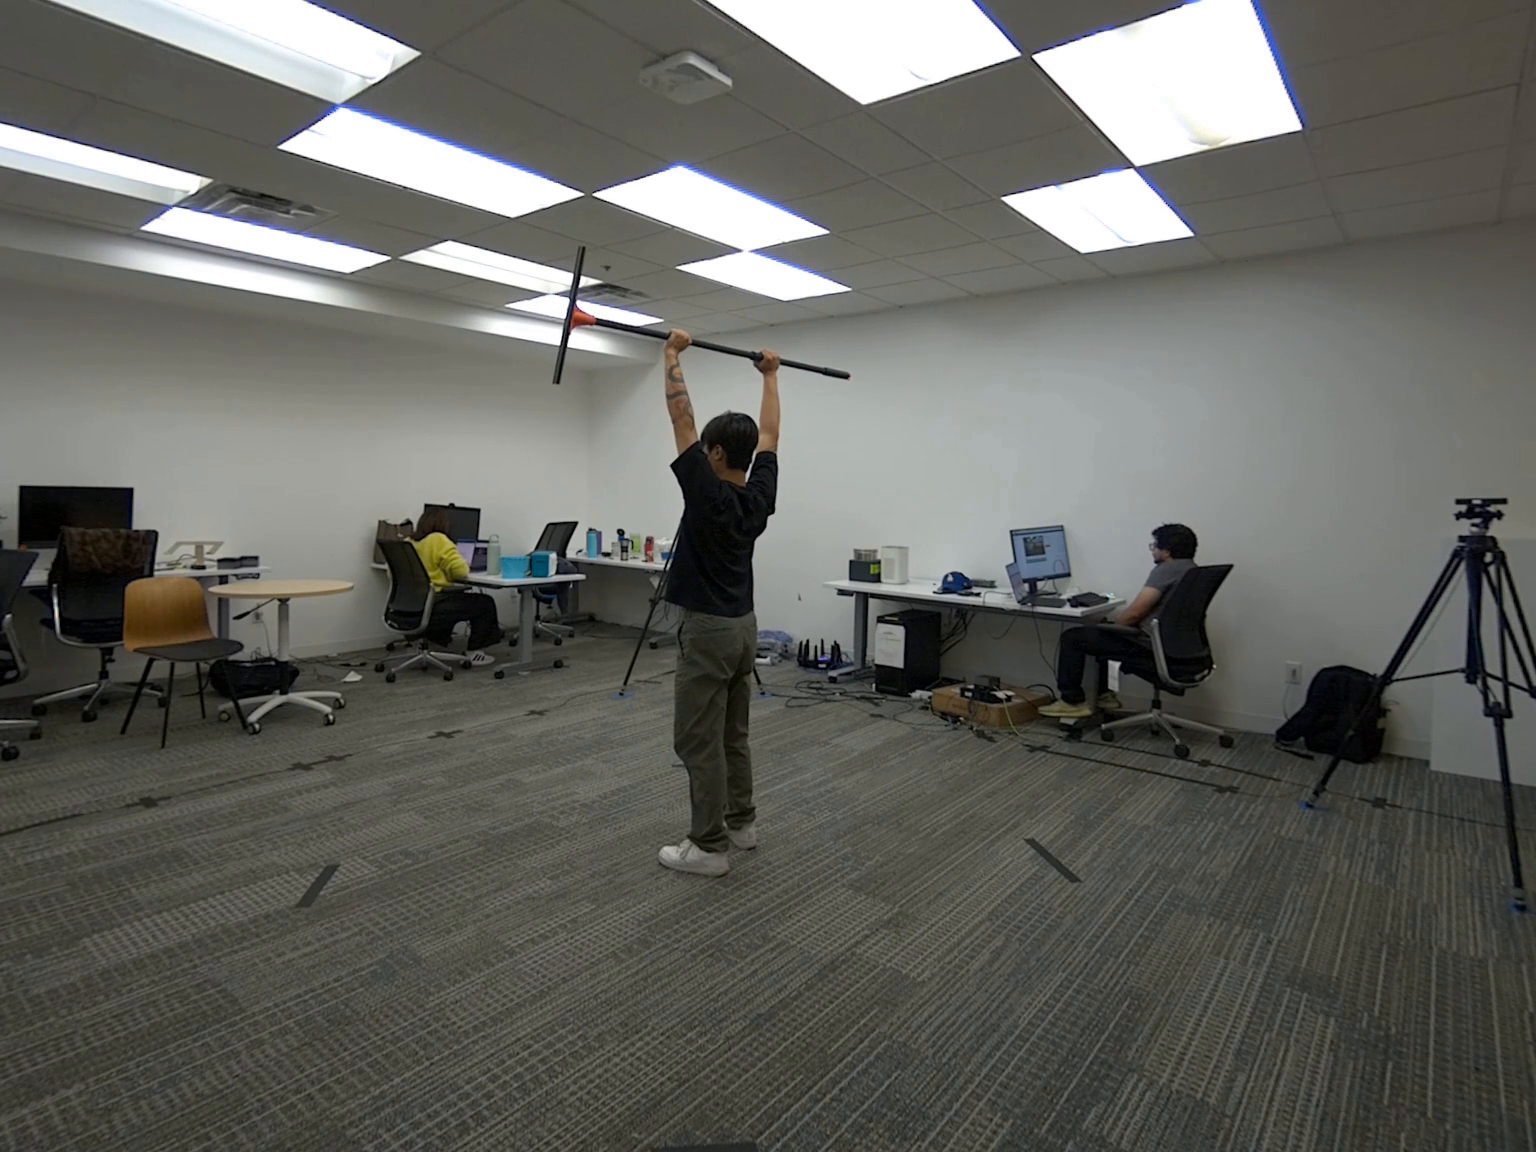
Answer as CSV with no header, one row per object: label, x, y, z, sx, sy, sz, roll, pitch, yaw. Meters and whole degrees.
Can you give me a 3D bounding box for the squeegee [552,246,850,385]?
squeegee,-0.163,-0.851,3.220,0.055,0.434,1.491,21,16,39
